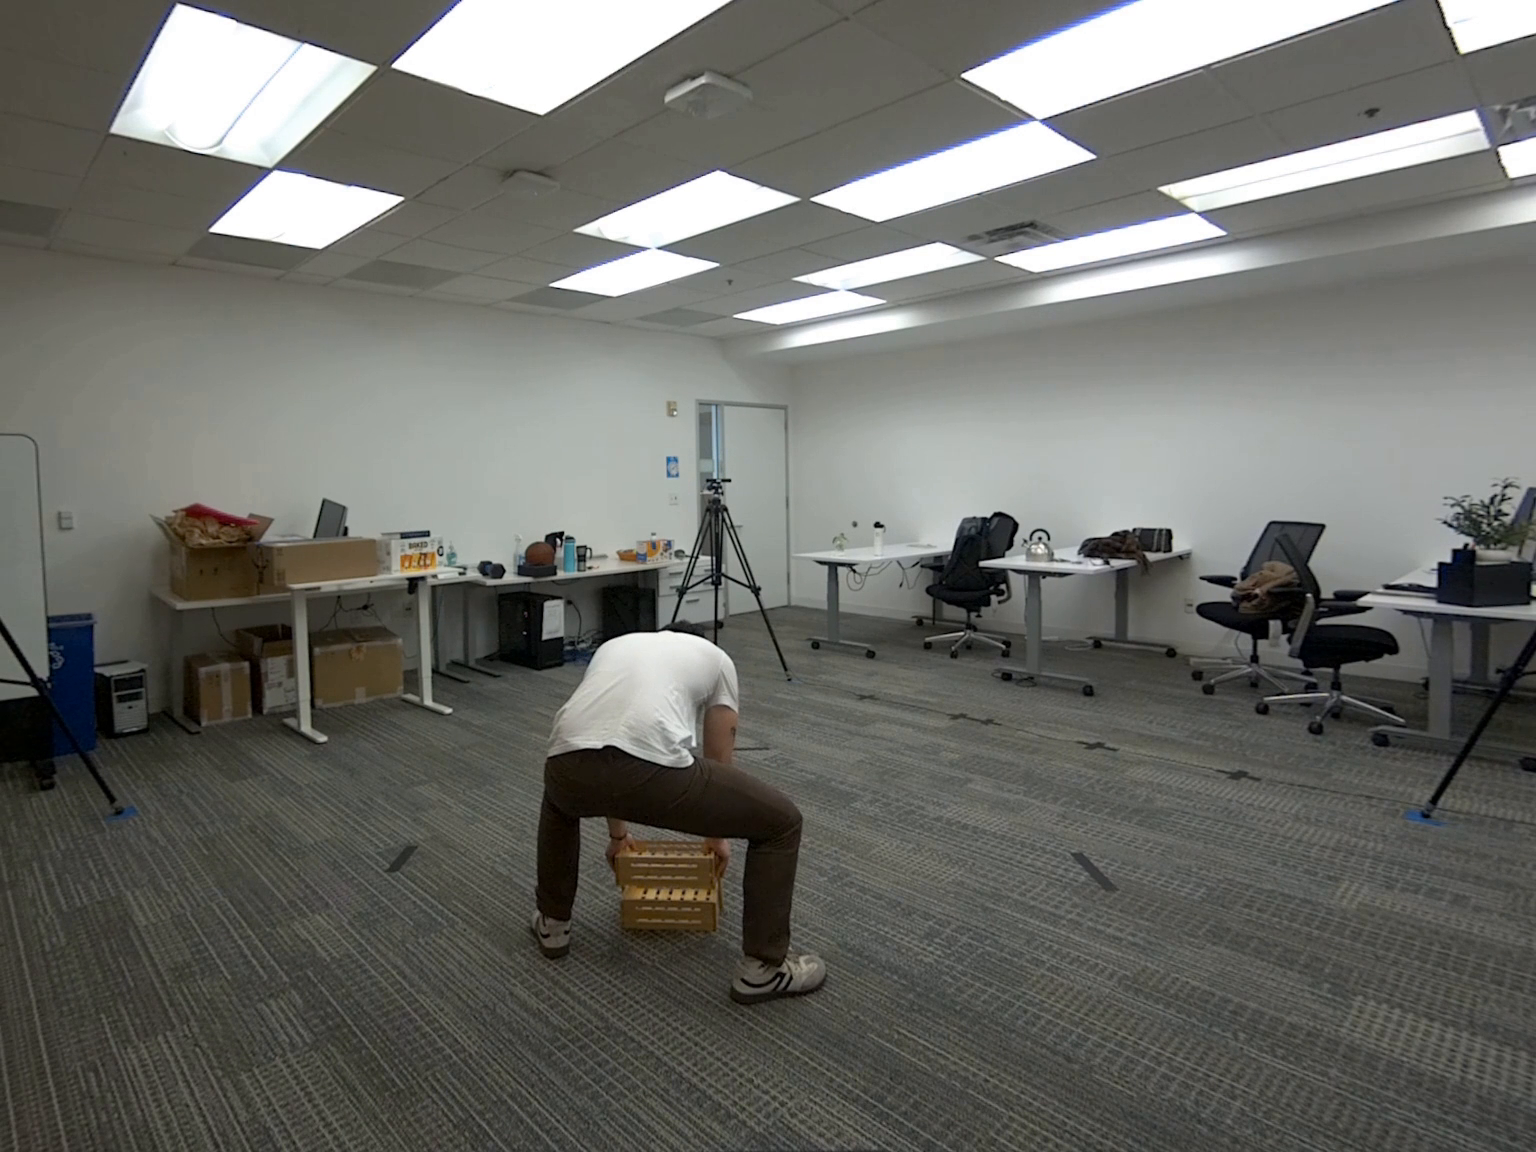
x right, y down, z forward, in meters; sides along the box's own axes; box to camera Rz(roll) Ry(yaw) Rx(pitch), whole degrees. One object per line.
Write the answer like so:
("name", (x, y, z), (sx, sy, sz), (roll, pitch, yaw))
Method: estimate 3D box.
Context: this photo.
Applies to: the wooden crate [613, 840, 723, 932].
("wooden crate", (-0.307, 0.959, 2.748), (0.326, 0.272, 0.302), (-1, 6, 3))
